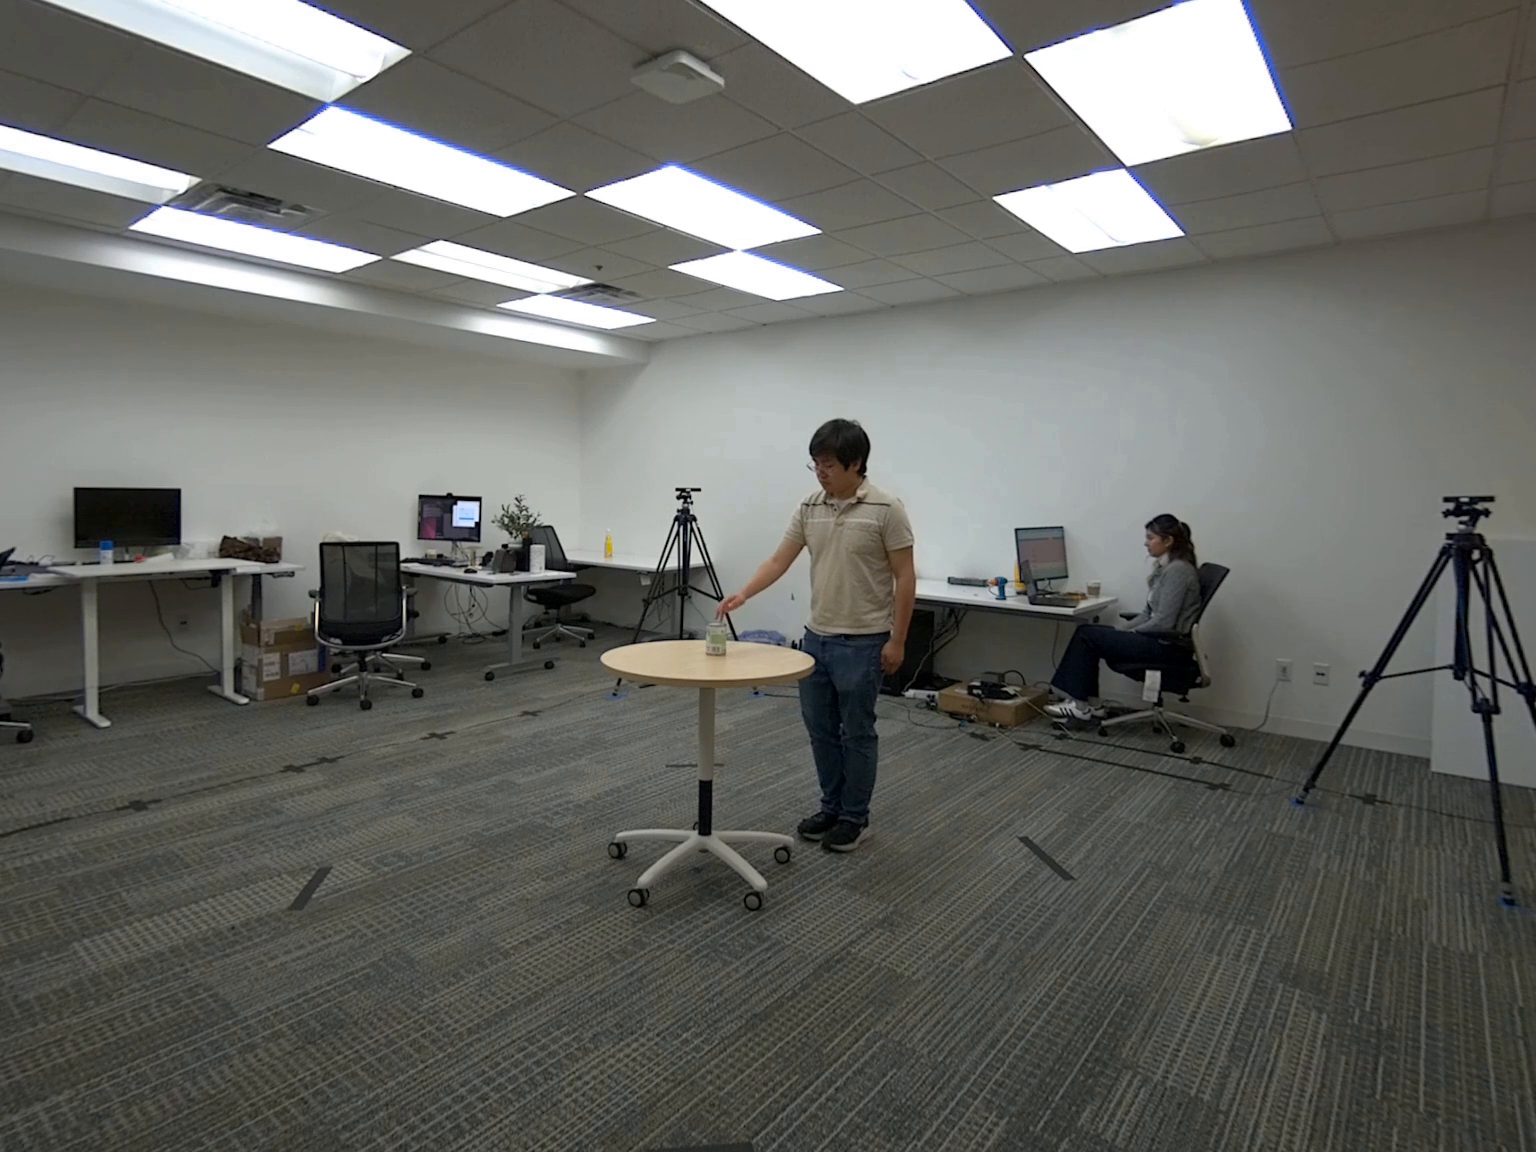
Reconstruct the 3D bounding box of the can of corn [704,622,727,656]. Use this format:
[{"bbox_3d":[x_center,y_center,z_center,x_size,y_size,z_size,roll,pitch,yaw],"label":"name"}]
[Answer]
[{"bbox_3d":[-0.209,0.228,3.121,0.074,0.111,0.074,0,3,-2],"label":"can of corn"}]
